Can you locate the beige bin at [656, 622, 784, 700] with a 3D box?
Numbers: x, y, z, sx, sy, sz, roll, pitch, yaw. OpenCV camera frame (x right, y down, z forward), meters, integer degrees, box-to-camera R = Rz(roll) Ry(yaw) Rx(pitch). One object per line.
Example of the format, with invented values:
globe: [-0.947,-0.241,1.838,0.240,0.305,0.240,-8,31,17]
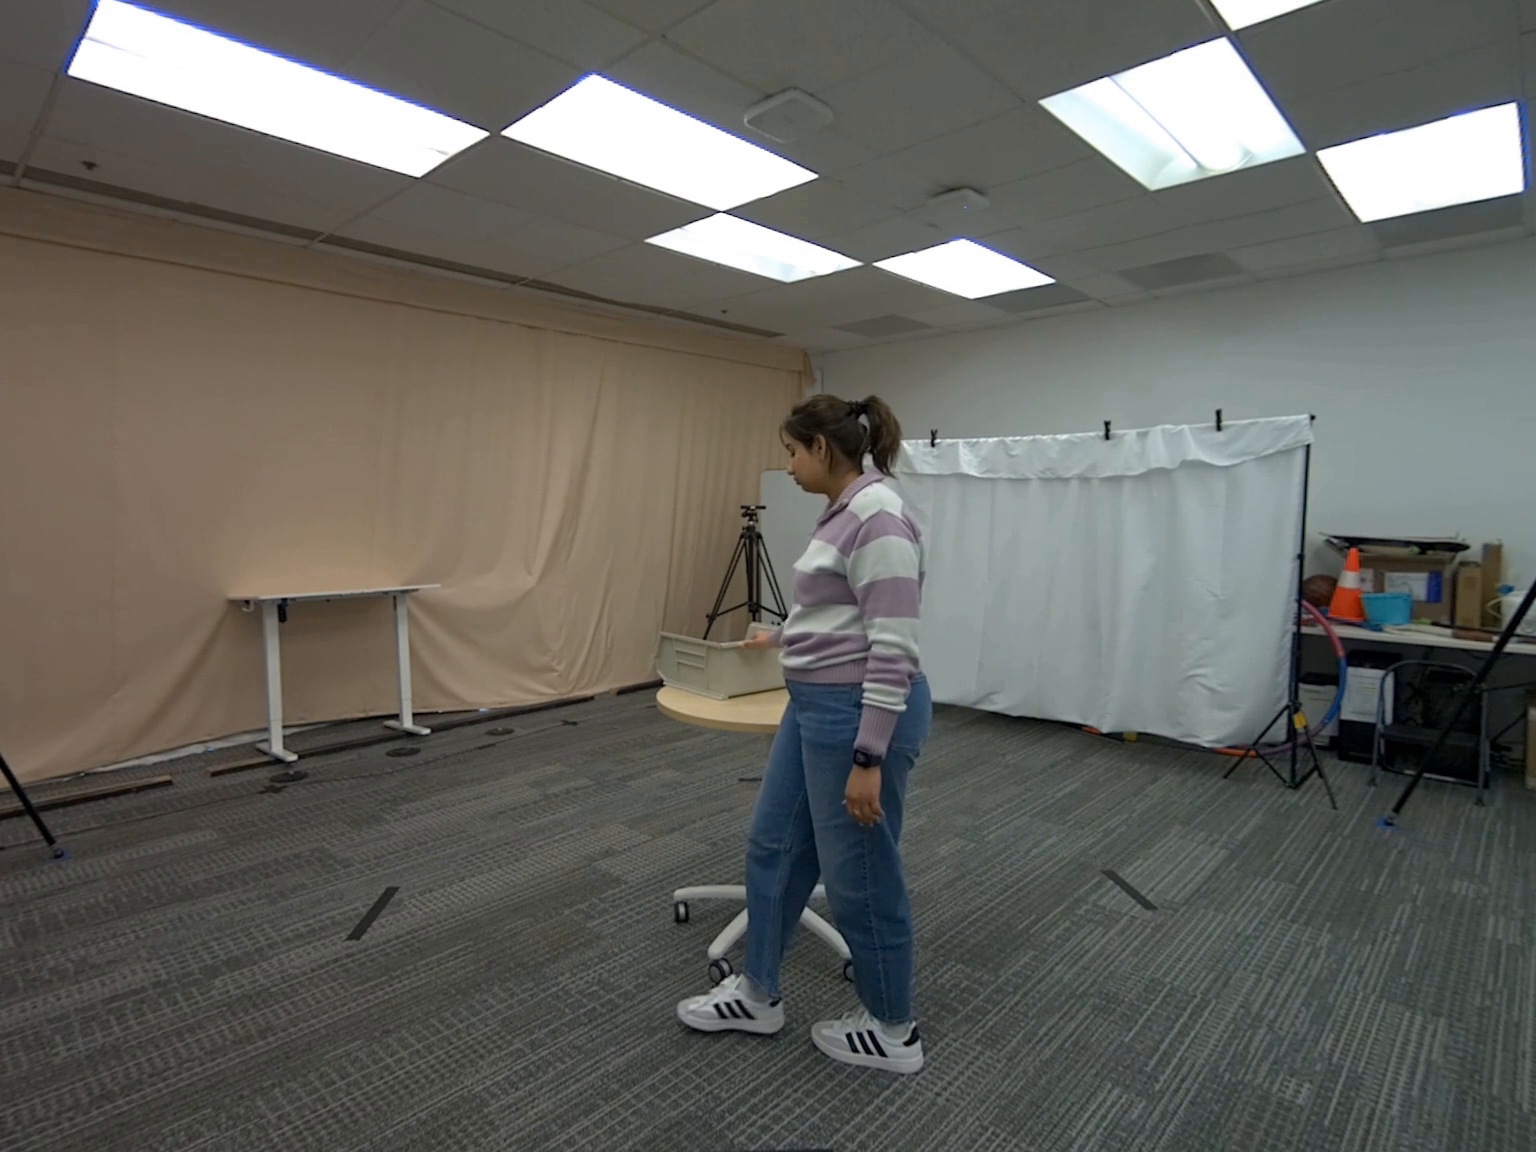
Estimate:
beige bin: [-0.107,0.280,2.881,0.409,0.188,0.390,-3,7,-40]
